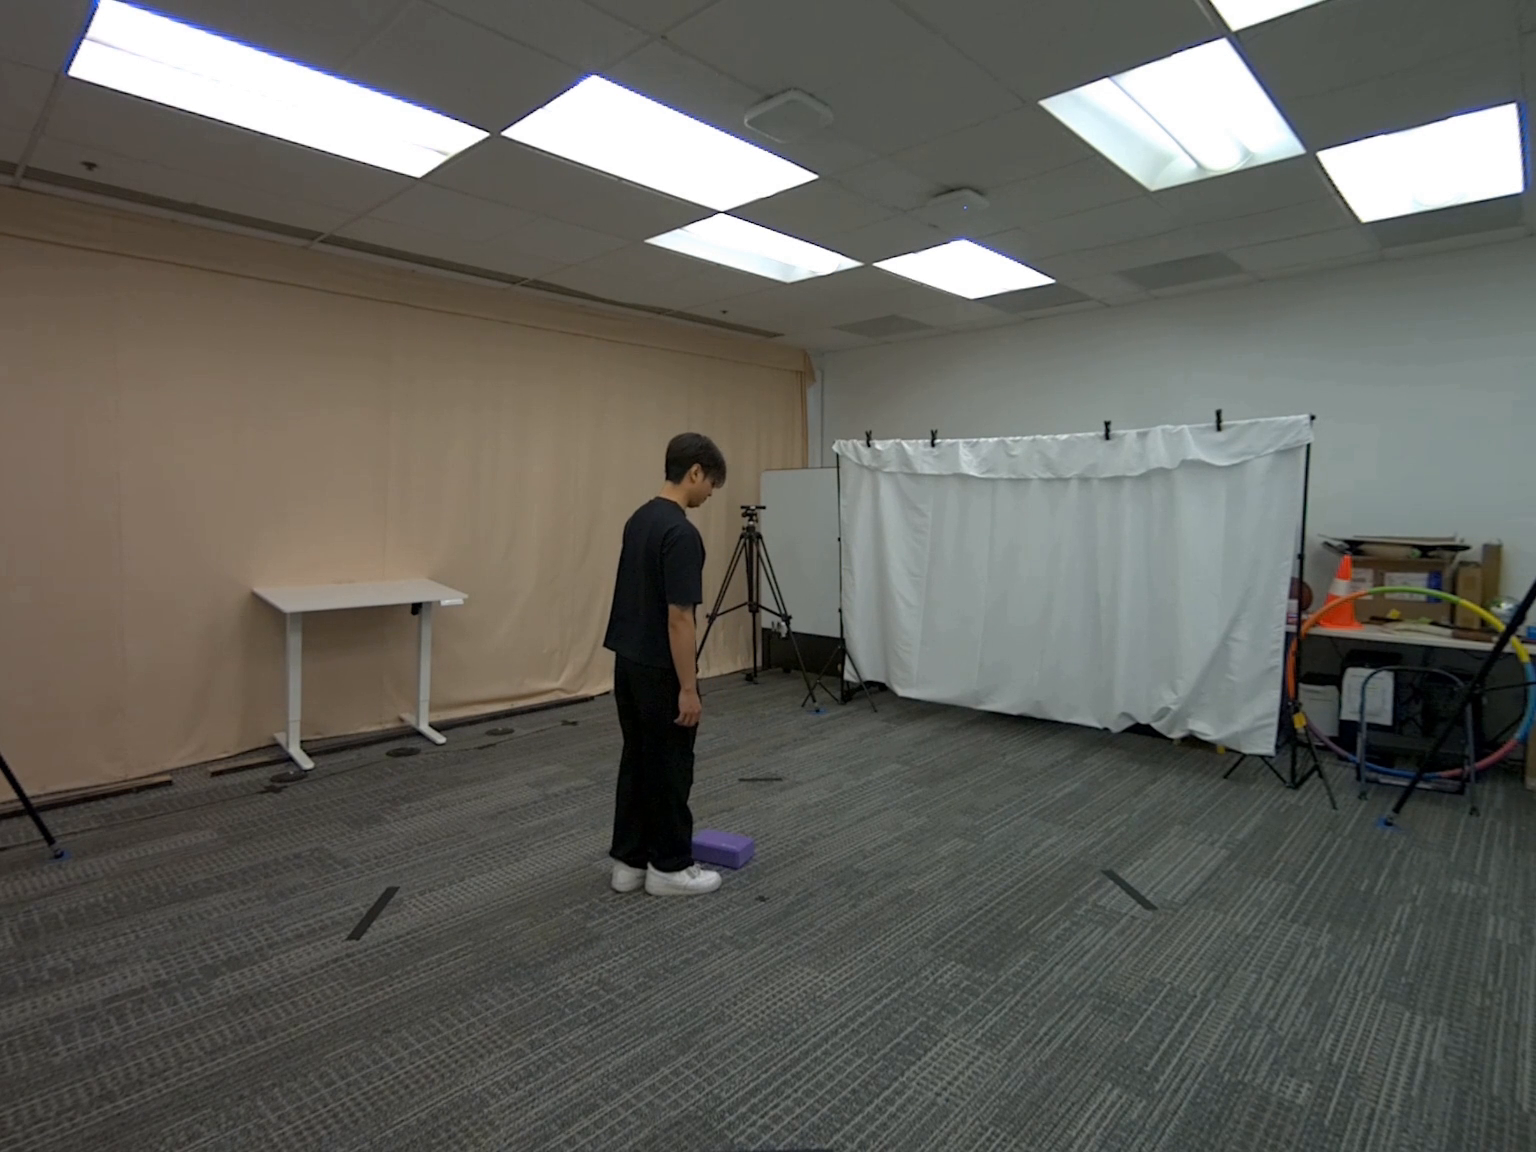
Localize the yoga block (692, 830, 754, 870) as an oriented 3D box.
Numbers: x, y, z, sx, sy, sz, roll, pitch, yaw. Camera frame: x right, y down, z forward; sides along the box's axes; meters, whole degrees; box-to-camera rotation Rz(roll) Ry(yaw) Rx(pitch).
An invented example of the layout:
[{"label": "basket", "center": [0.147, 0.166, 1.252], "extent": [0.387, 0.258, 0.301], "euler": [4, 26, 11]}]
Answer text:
[{"label": "yoga block", "center": [-0.184, 1.074, 3.325], "extent": [0.235, 0.076, 0.145], "euler": [2, 6, 28]}]
